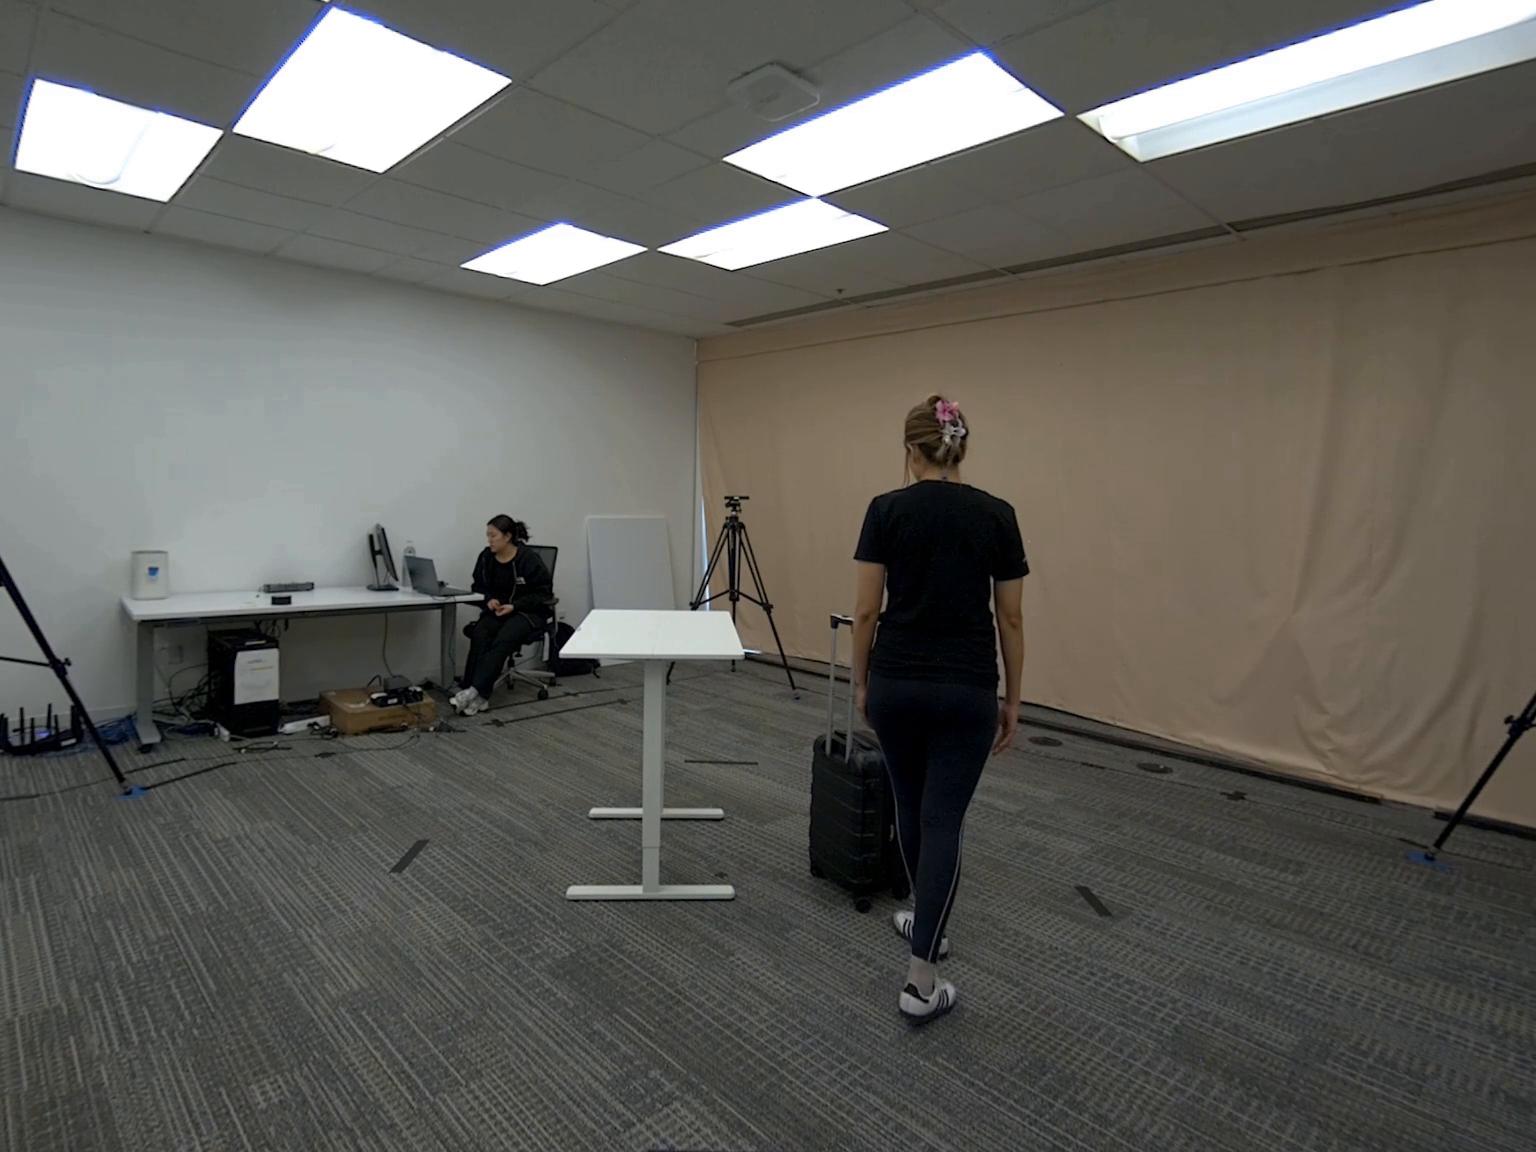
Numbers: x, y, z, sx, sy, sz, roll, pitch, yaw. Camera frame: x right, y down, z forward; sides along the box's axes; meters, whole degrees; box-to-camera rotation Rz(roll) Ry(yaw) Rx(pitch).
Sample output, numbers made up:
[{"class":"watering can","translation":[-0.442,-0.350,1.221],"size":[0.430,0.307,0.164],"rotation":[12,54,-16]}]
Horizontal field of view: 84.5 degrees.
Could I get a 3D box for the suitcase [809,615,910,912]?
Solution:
[{"class":"suitcase","translation":[0.335,0.643,3.013],"size":[0.253,0.976,0.391],"rotation":[1,3,-23]}]
